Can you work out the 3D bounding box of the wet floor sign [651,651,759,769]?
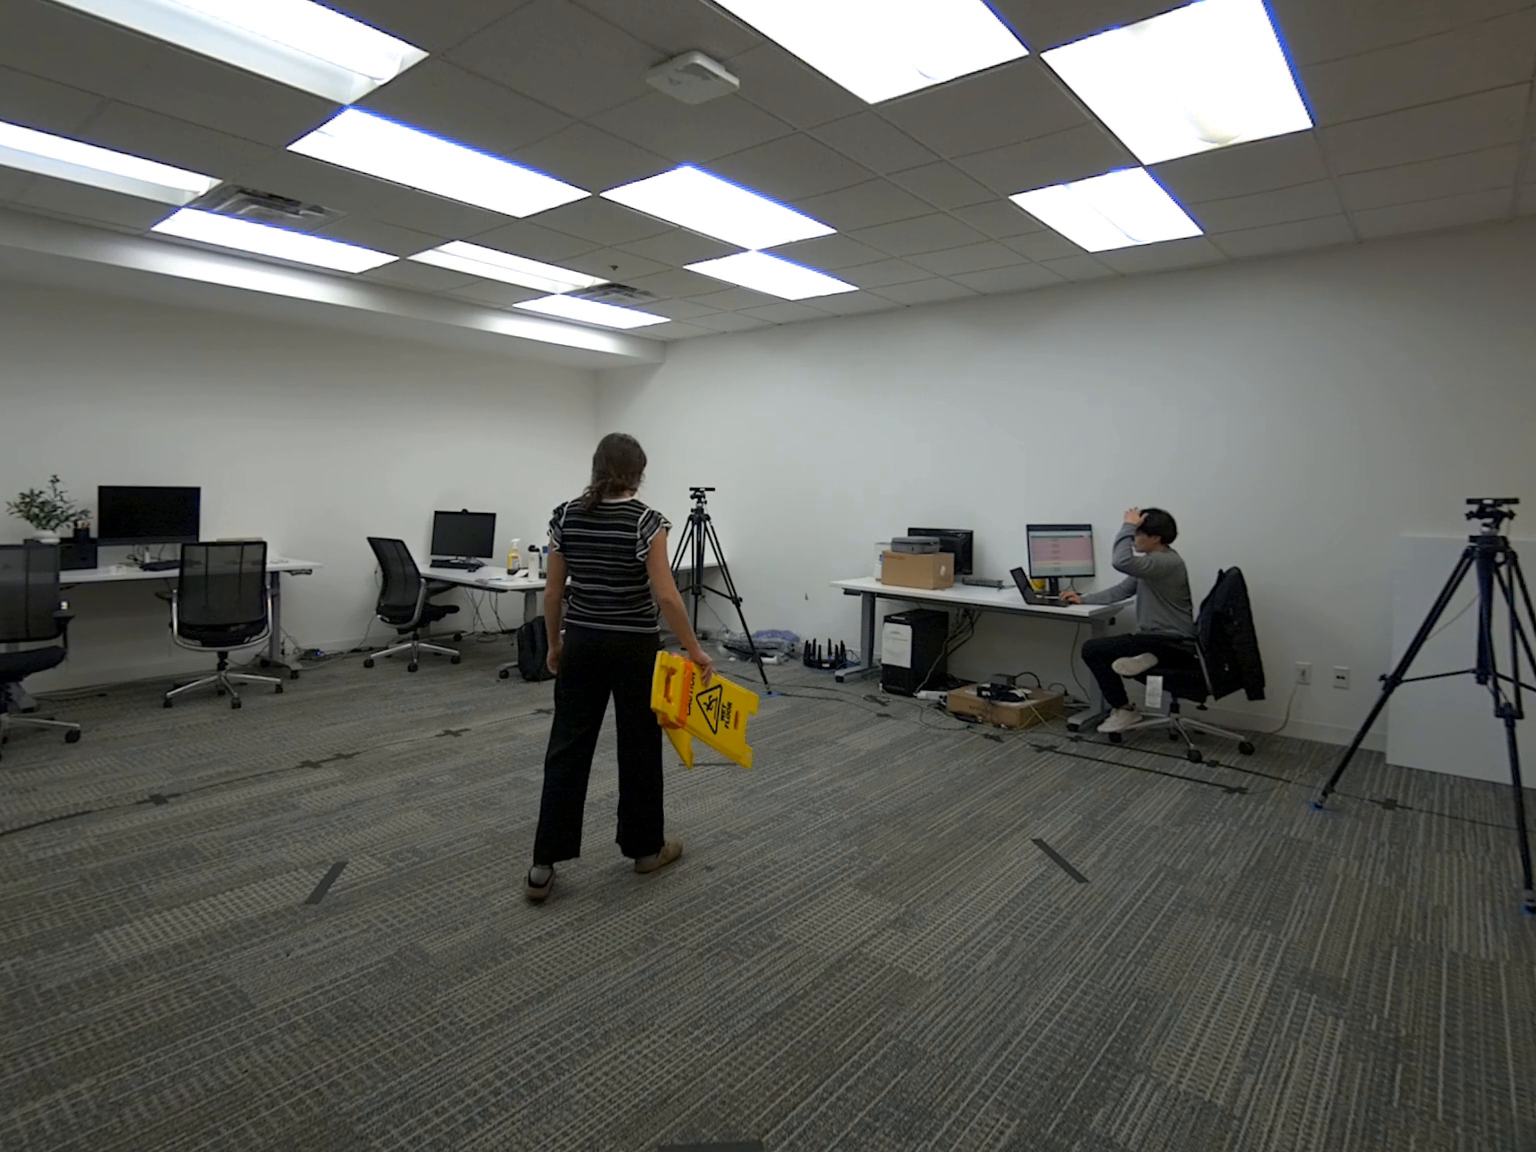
[{"bbox_3d":[-0.276,0.465,3.000,0.295,0.288,0.622,-4,-27,17],"label":"wet floor sign"}]
